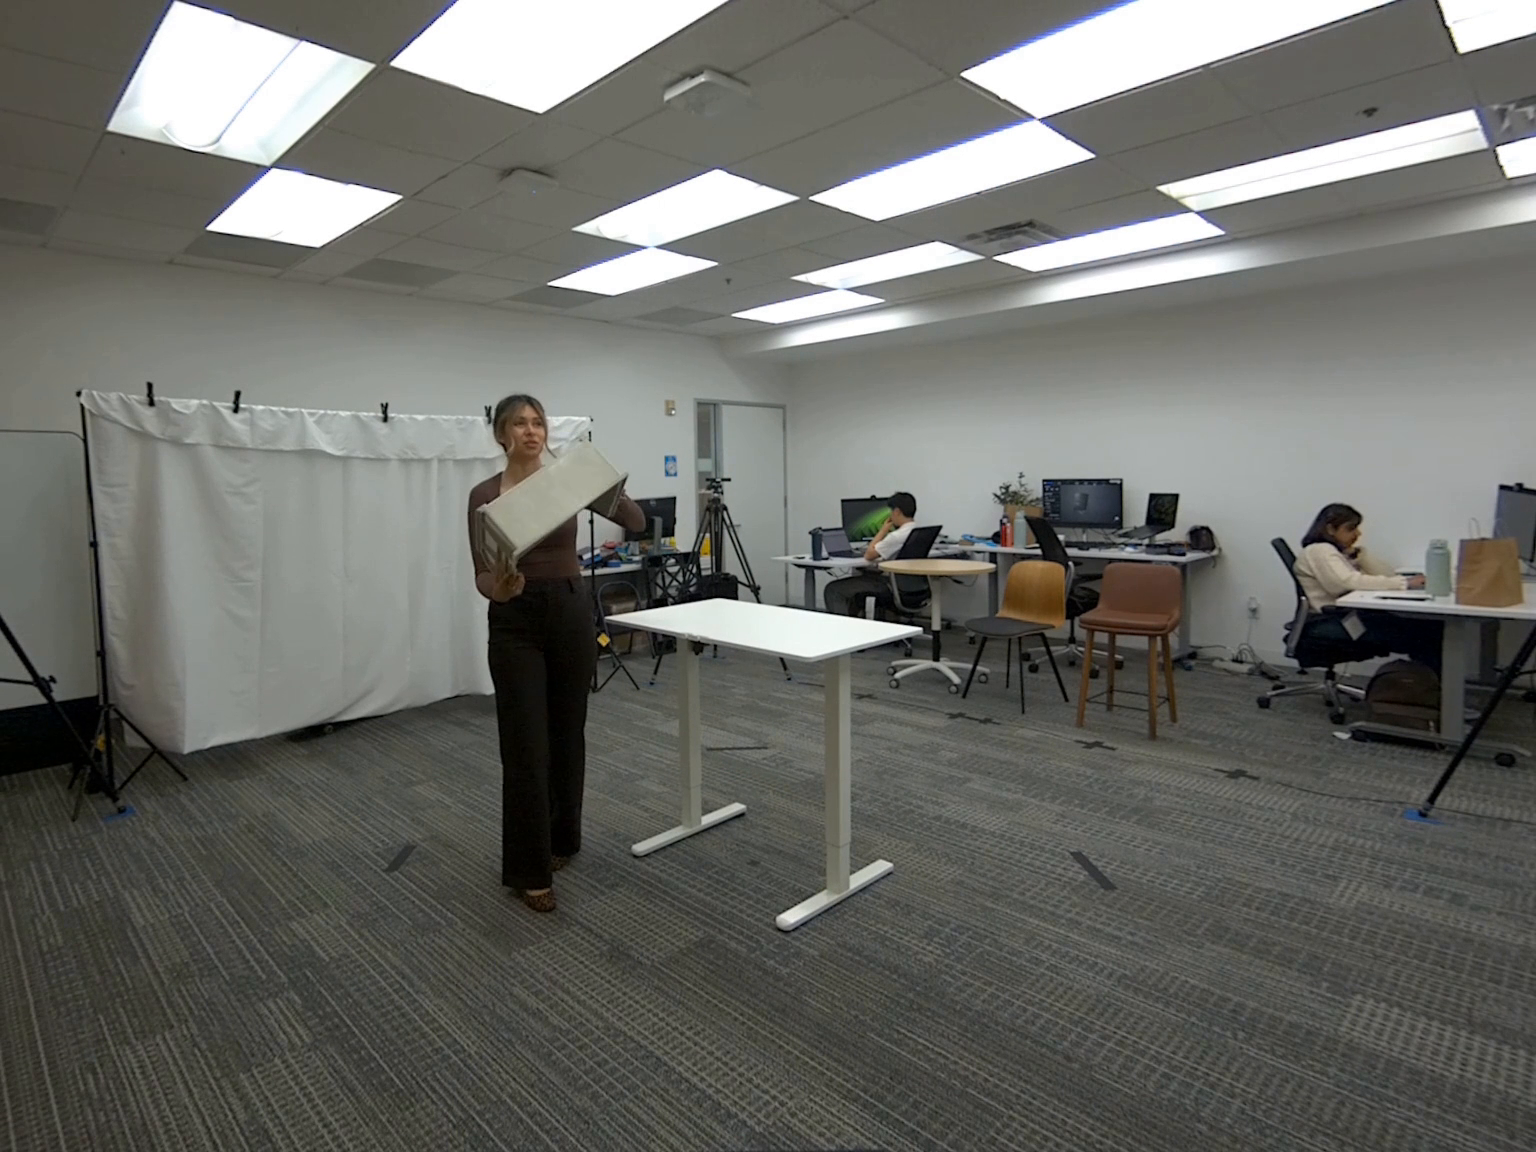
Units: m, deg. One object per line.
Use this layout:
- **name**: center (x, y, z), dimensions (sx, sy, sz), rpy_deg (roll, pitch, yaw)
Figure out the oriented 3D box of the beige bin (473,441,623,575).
- **beige bin**: center (-0.663, -0.182, 2.613), dimensions (0.421, 0.190, 0.376), rpy_deg (-41, -4, -27)
